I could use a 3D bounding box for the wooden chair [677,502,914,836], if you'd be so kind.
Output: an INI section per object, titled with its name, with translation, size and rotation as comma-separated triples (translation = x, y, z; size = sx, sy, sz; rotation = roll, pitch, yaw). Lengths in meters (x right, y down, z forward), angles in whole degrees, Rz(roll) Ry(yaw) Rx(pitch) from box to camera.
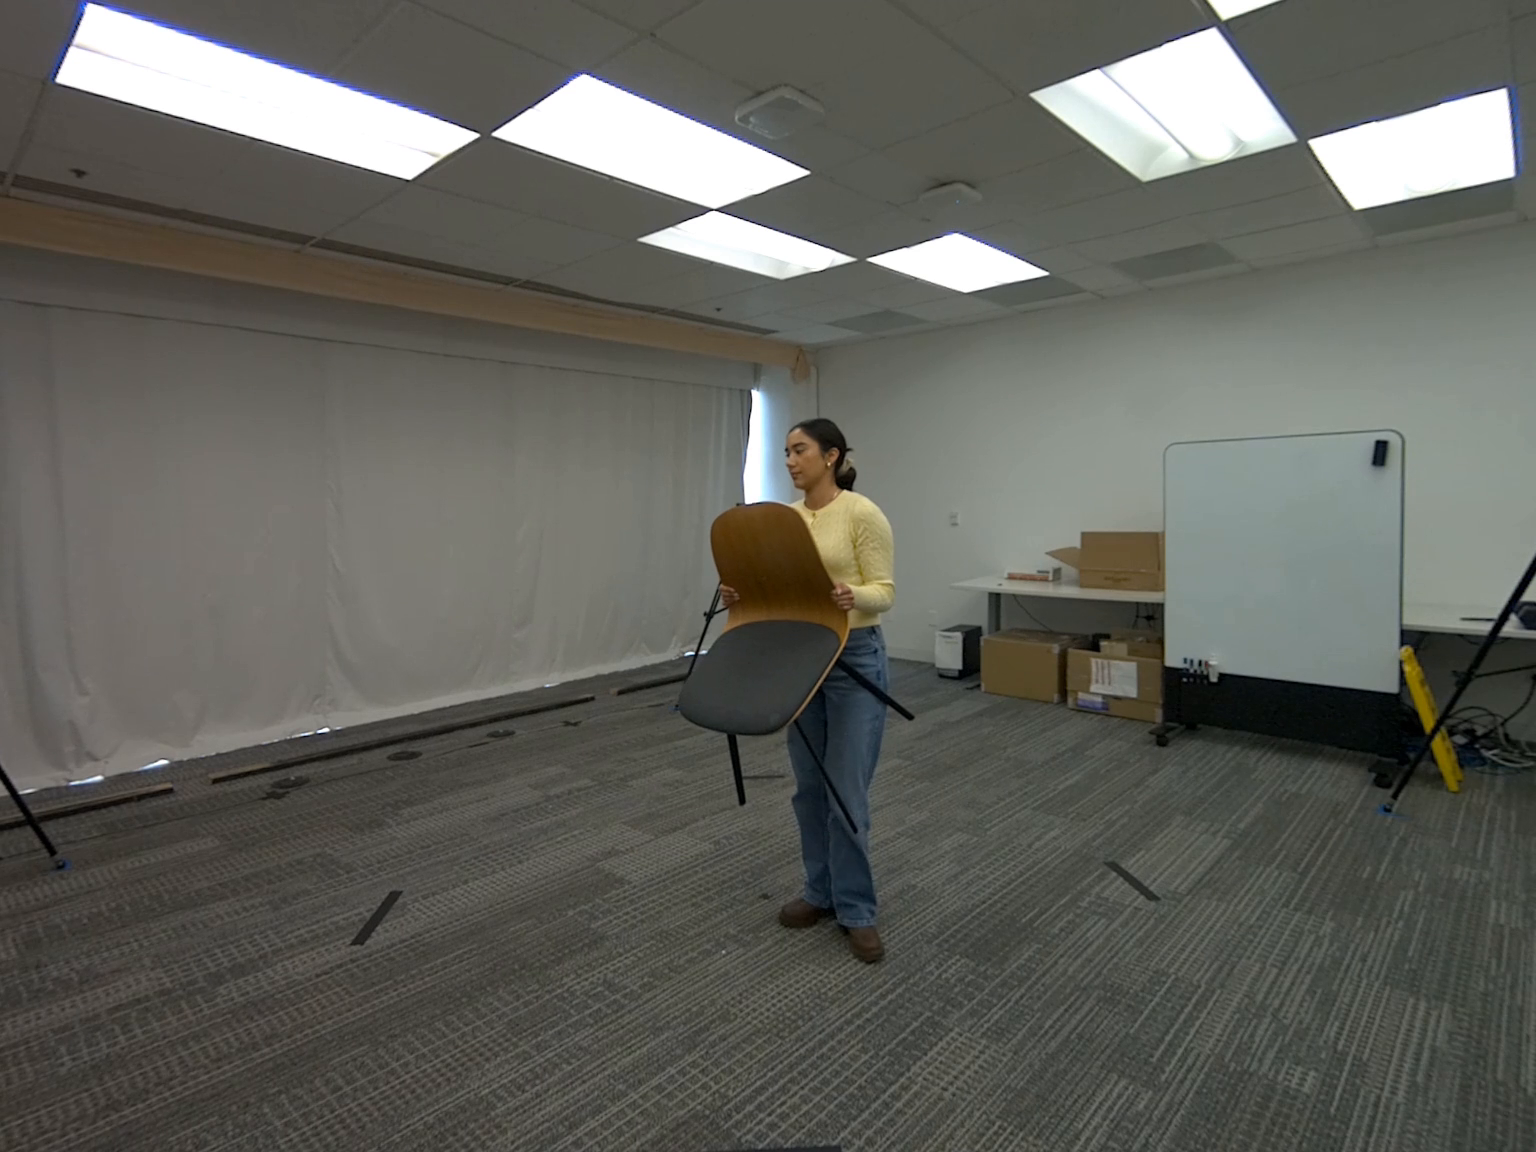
[wooden chair]
translation = 0.013, 0.286, 2.519
size = 0.493, 0.857, 0.519
rotation = 0, 35, 40
